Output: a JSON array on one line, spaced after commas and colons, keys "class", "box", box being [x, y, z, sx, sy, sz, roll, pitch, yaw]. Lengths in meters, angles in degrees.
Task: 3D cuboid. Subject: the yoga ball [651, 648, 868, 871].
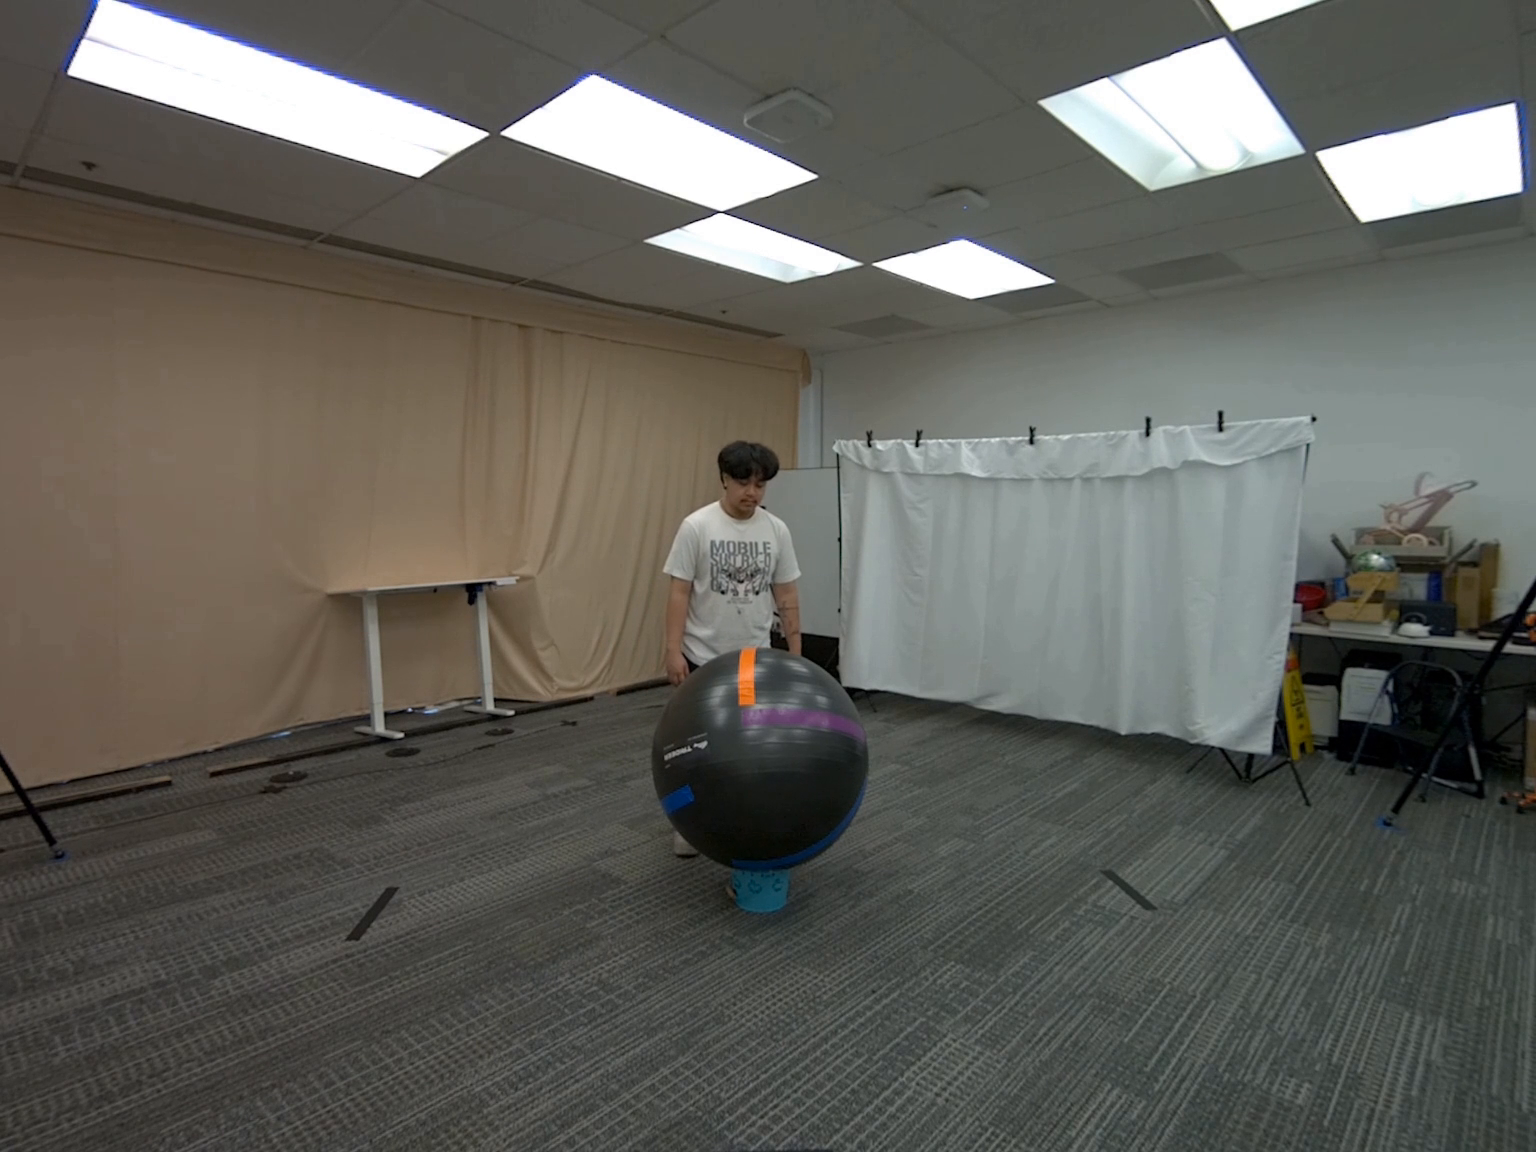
[{"class": "yoga ball", "box": [-0.031, 0.638, 2.946, 0.757, 0.756, 0.761, 0, 4, -2]}]
